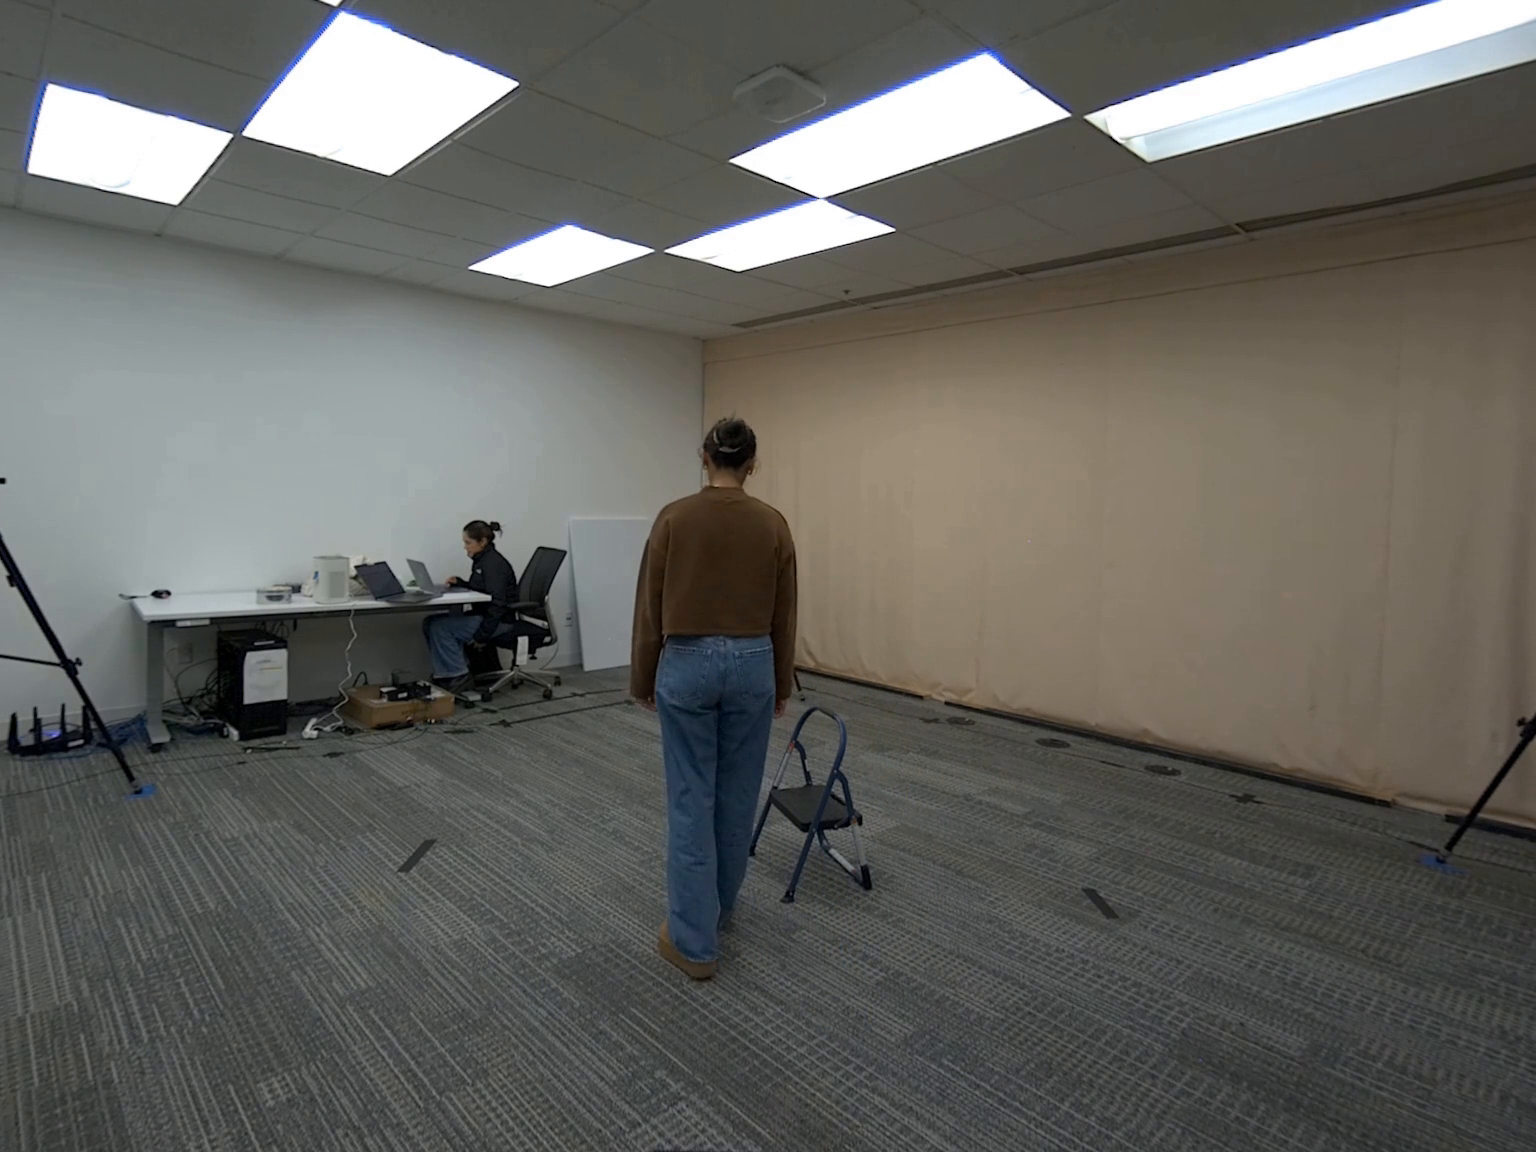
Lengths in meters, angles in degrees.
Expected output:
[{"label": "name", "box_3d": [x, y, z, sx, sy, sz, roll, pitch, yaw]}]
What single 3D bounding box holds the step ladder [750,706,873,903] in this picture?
[{"label": "step ladder", "box_3d": [0.145, 0.810, 3.136, 0.344, 0.604, 0.438, 0, 4, -21]}]
